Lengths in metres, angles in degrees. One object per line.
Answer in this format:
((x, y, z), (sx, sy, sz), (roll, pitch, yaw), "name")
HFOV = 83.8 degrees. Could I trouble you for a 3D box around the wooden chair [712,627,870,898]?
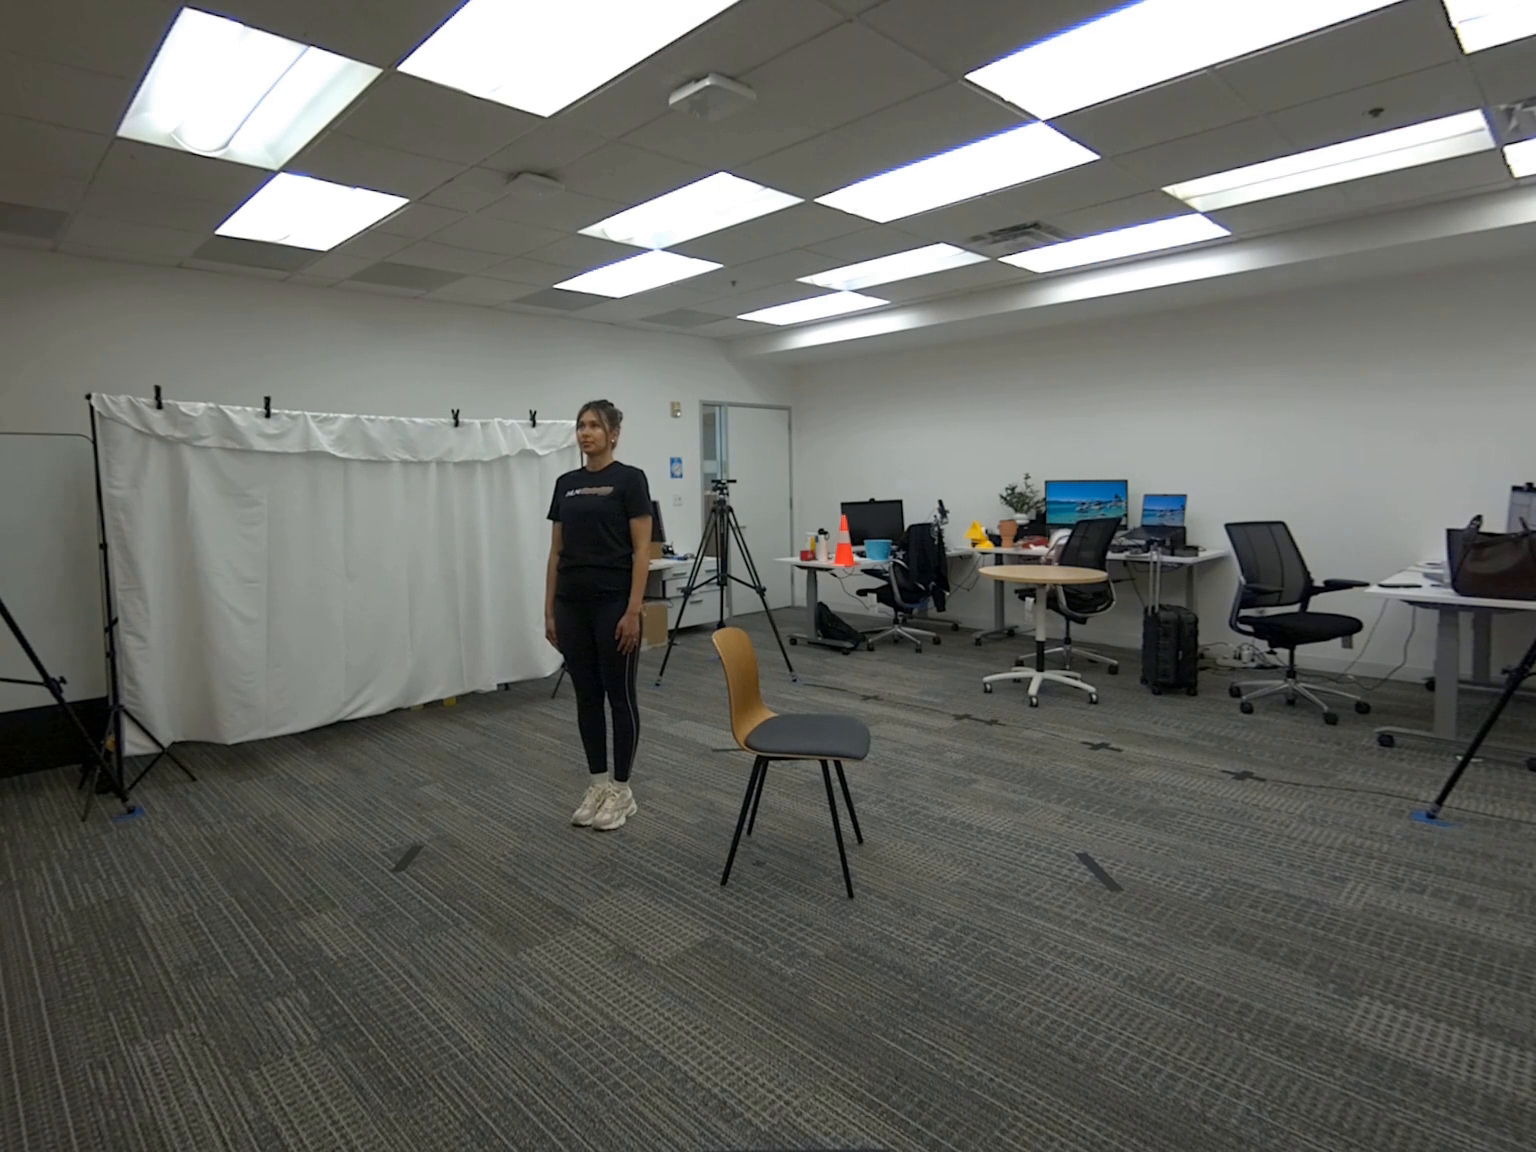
((0.106, 0.620, 3.073), (0.530, 0.875, 0.473), (-4, 3, 13), "wooden chair")
